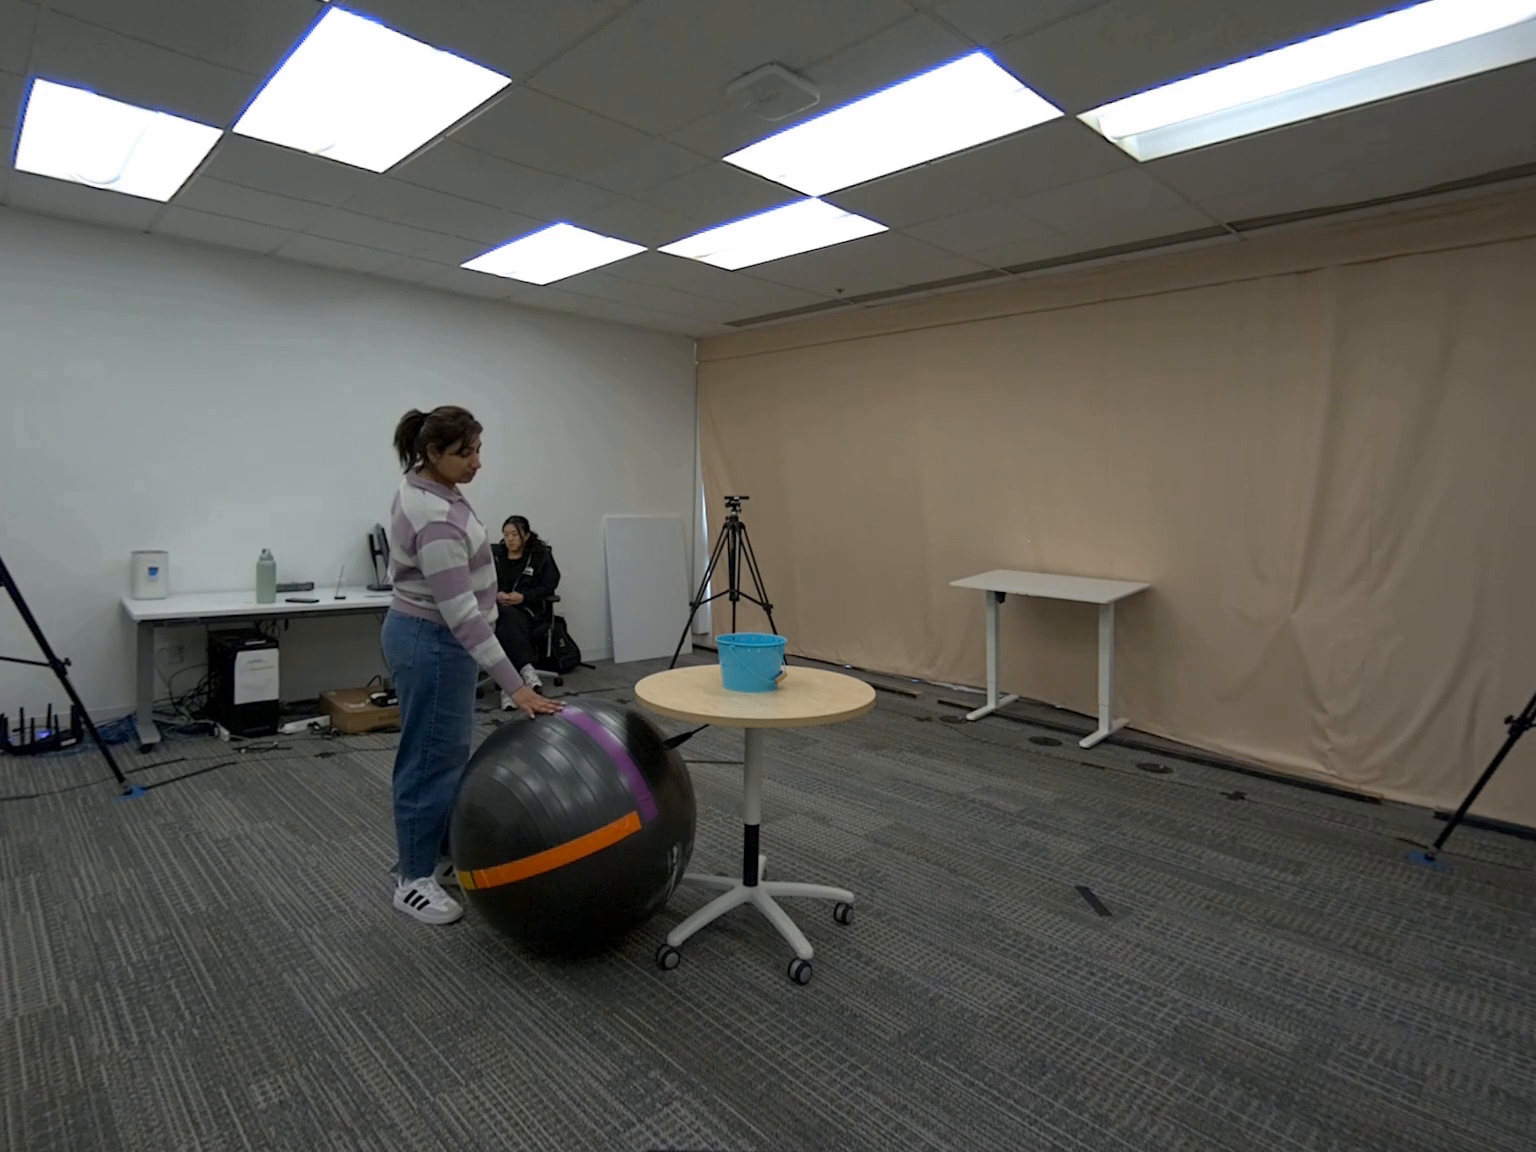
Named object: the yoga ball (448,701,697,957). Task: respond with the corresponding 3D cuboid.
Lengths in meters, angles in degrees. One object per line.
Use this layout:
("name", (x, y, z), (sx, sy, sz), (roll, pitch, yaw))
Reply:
("yoga ball", (-0.609, 0.769, 2.639), (0.757, 0.756, 0.761), (1, 4, -1))
